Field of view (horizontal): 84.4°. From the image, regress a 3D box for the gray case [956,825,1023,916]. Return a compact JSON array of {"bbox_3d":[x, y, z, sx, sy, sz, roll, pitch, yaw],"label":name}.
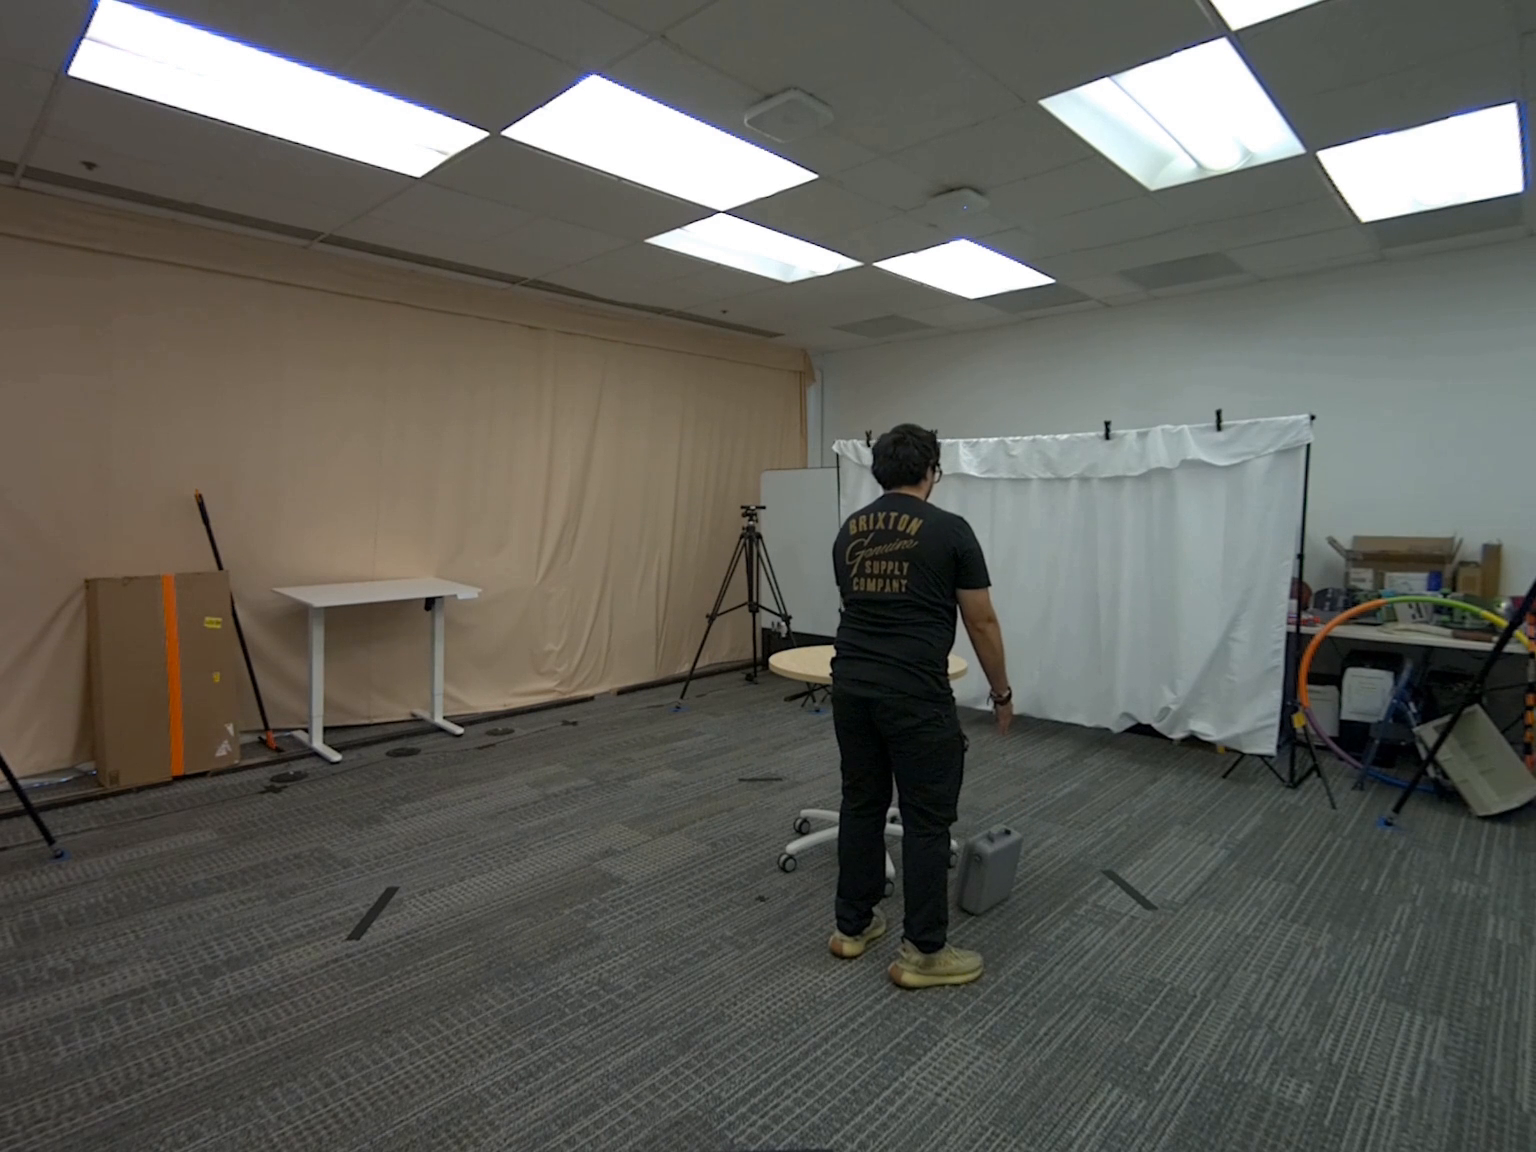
[{"bbox_3d":[0.778,1.013,2.921,0.249,0.259,0.108,-2,14,-44],"label":"gray case"}]
